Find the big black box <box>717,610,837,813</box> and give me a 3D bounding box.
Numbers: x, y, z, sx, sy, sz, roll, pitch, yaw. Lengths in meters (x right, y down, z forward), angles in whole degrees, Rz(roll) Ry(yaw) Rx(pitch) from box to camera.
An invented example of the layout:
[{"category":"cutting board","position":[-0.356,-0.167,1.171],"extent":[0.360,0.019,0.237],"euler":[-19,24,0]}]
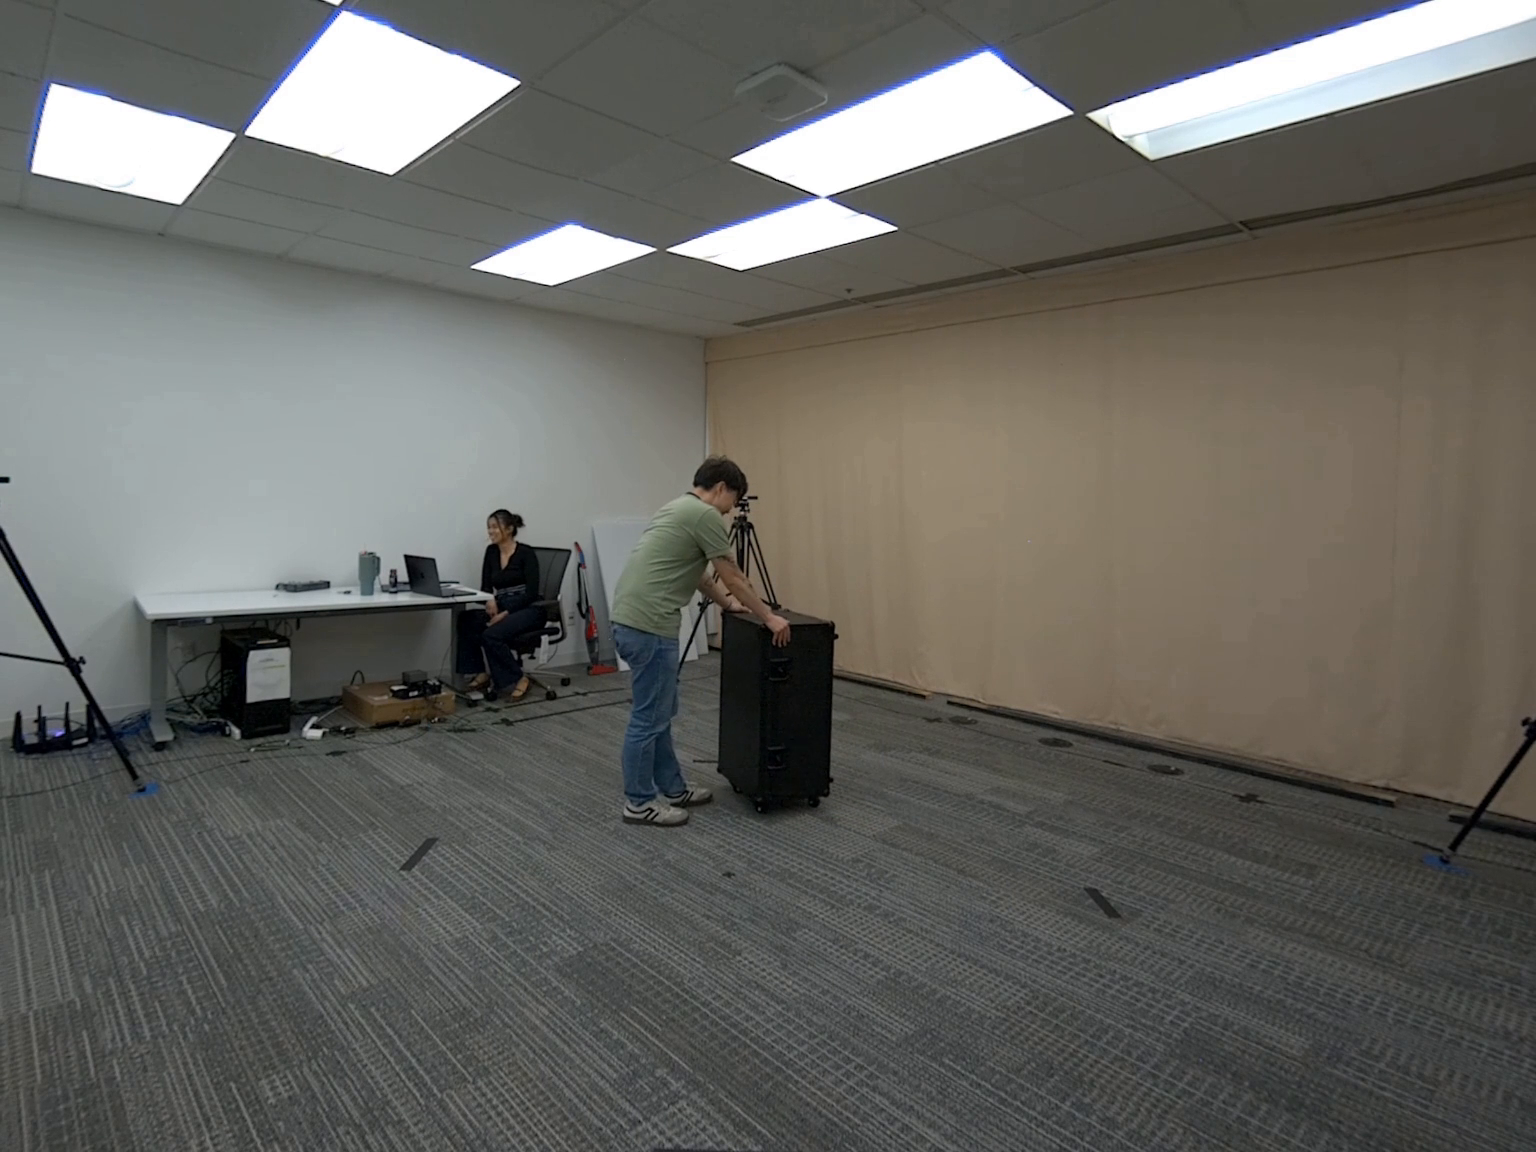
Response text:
[{"category":"big black box","position":[0.026,0.609,3.914],"extent":[0.389,0.860,0.531],"euler":[1,3,-24]}]
